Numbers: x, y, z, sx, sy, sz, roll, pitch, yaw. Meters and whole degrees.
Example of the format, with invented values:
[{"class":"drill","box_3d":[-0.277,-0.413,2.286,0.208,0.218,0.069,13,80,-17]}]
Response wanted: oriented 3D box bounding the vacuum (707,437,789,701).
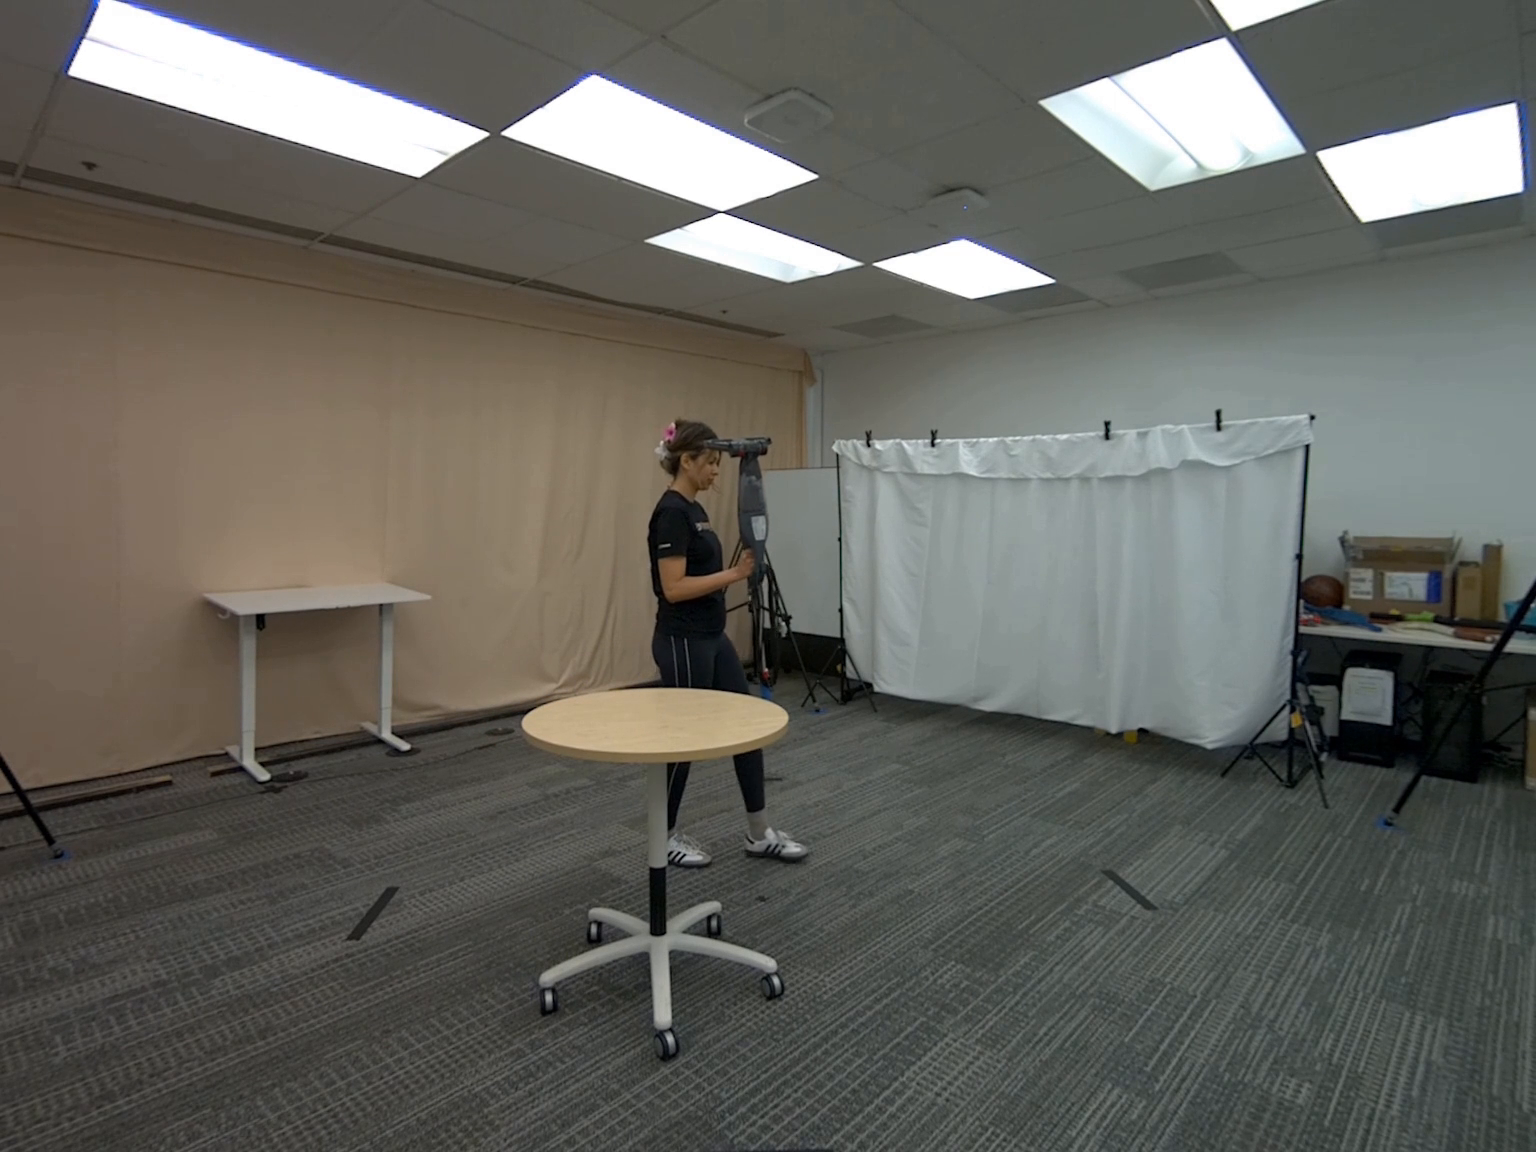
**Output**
[{"class":"vacuum","box_3d":[-0.022,0.044,2.973,0.248,1.049,0.147,-7,0,-21]}]
